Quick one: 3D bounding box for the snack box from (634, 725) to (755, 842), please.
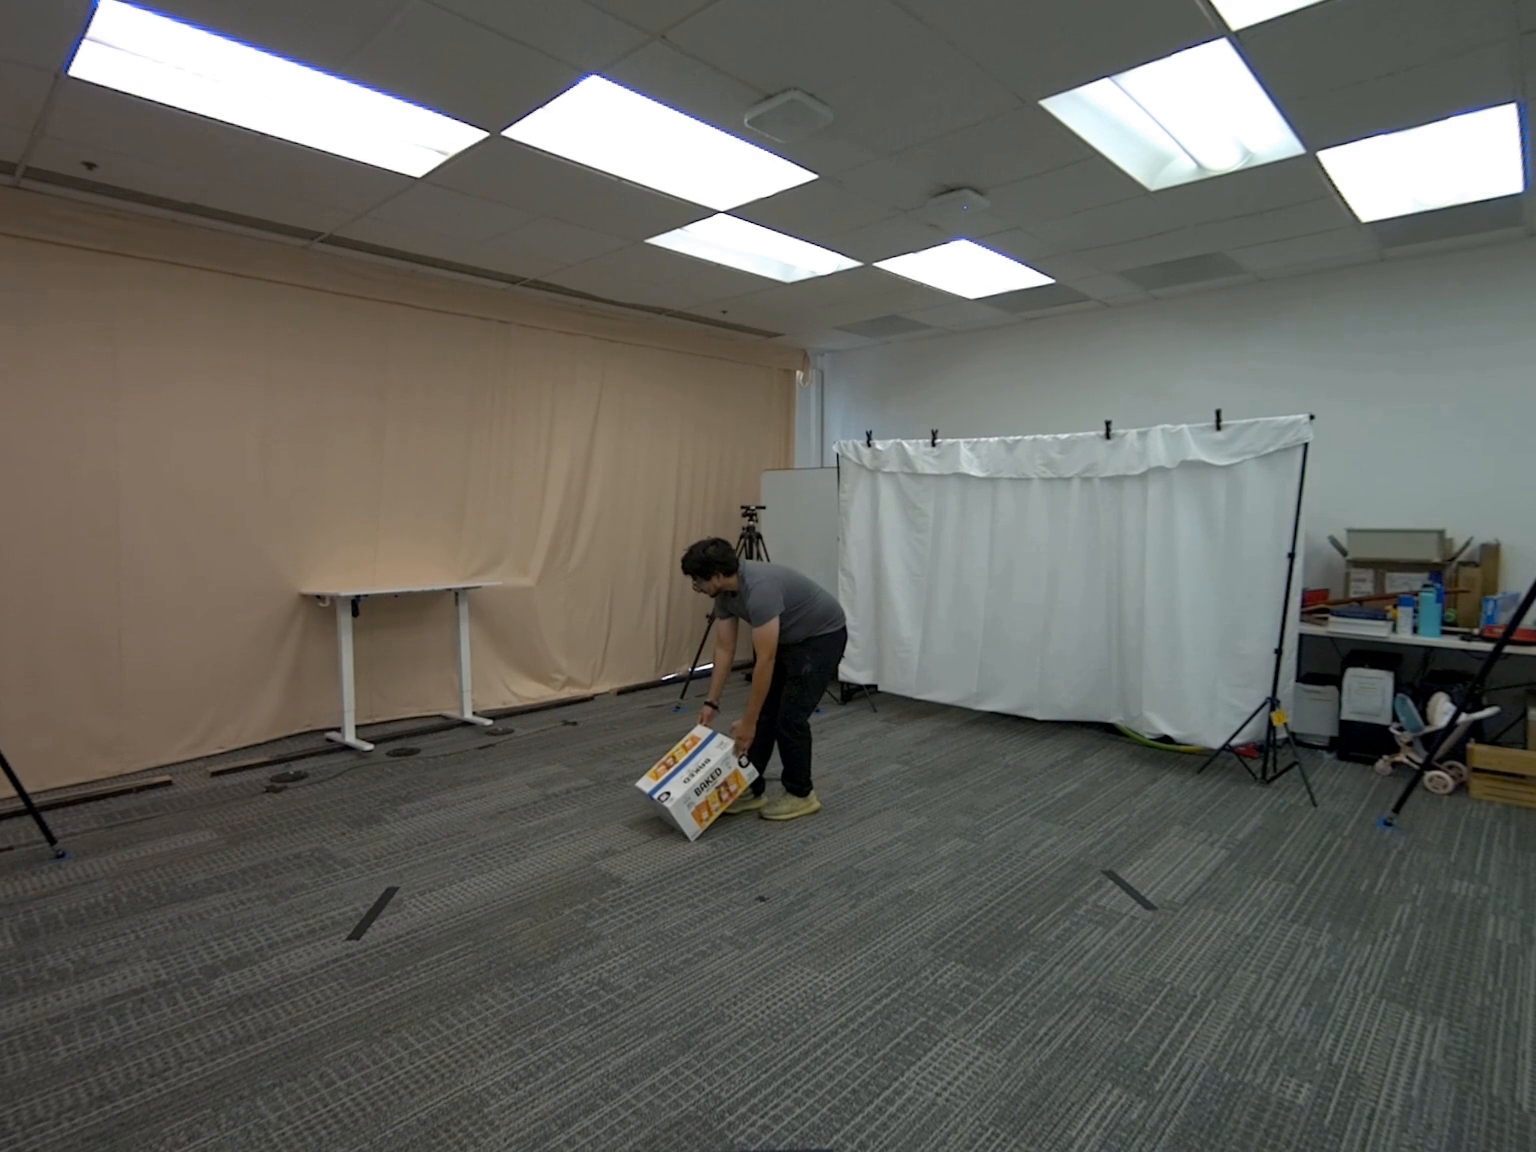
[{"bbox_3d":[-0.311,0.893,3.685,0.401,0.201,0.350,-41,23,-23],"label":"snack box"}]
